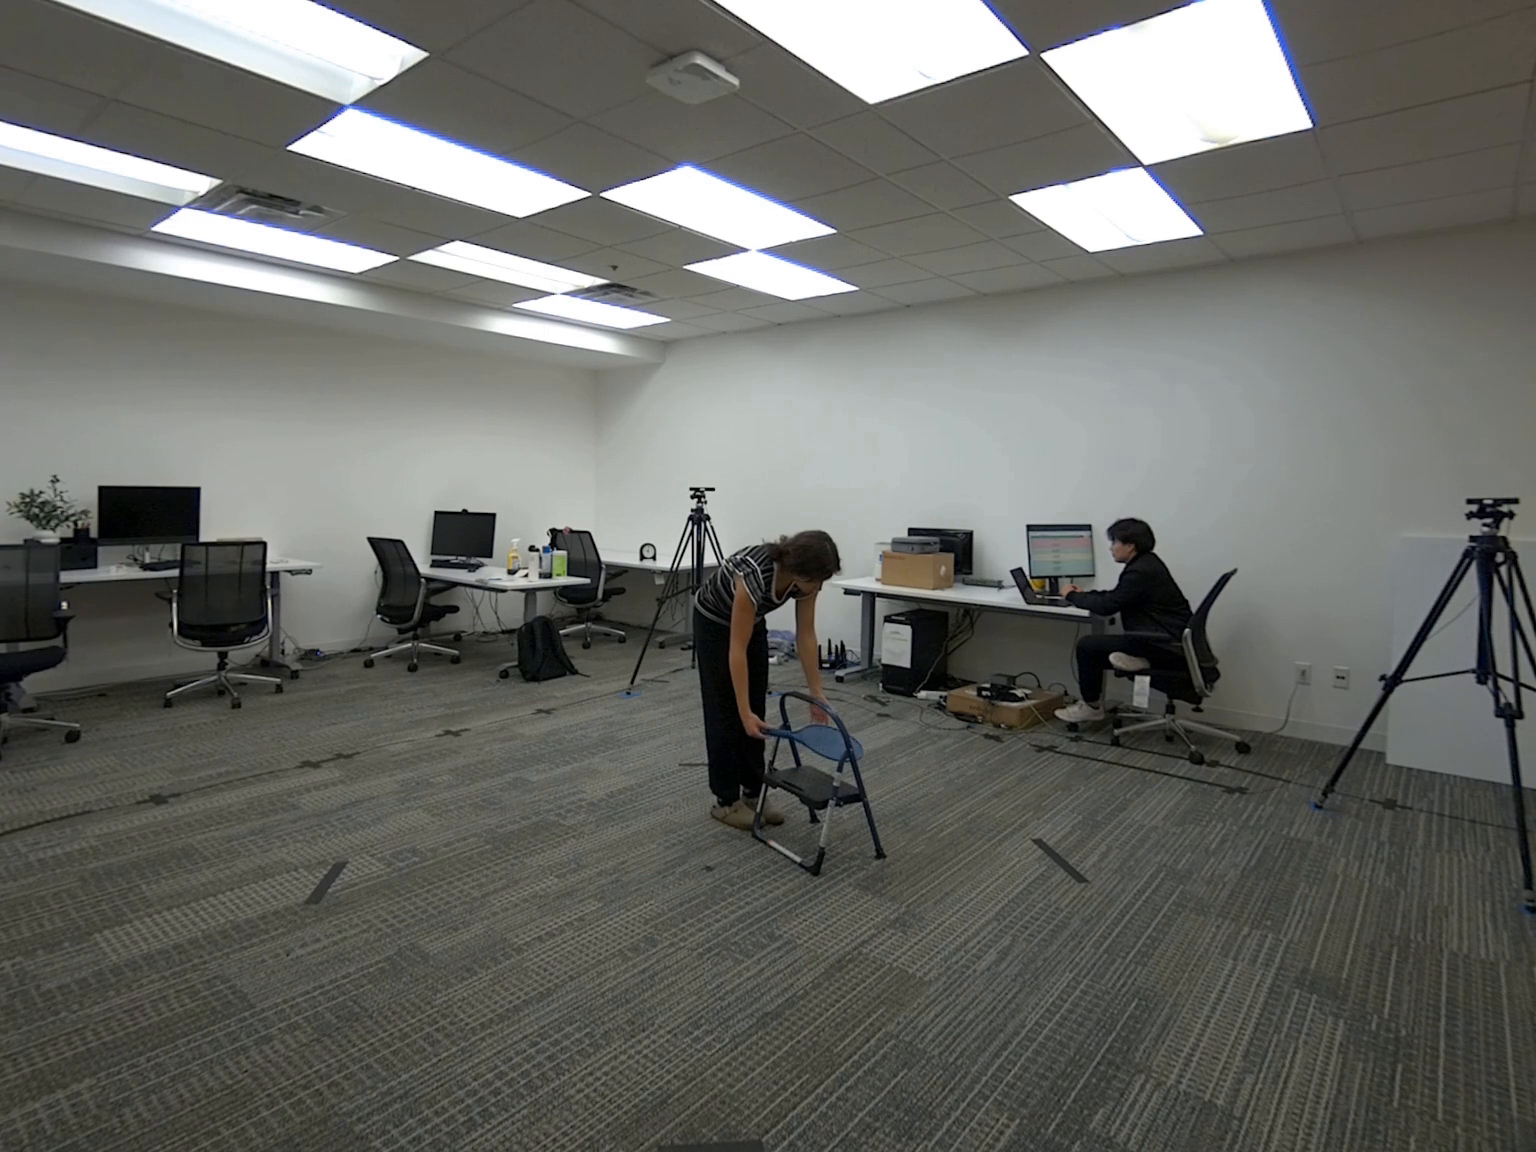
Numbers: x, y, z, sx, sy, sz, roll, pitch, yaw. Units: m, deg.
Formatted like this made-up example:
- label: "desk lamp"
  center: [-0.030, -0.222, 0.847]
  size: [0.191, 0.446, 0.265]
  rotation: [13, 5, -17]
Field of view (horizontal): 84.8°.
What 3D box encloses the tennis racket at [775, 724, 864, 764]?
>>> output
- label: "tennis racket"
  center: [0.149, 0.634, 3.315]
  size: [0.427, 0.031, 0.219]
  rotation: [16, 19, -11]
